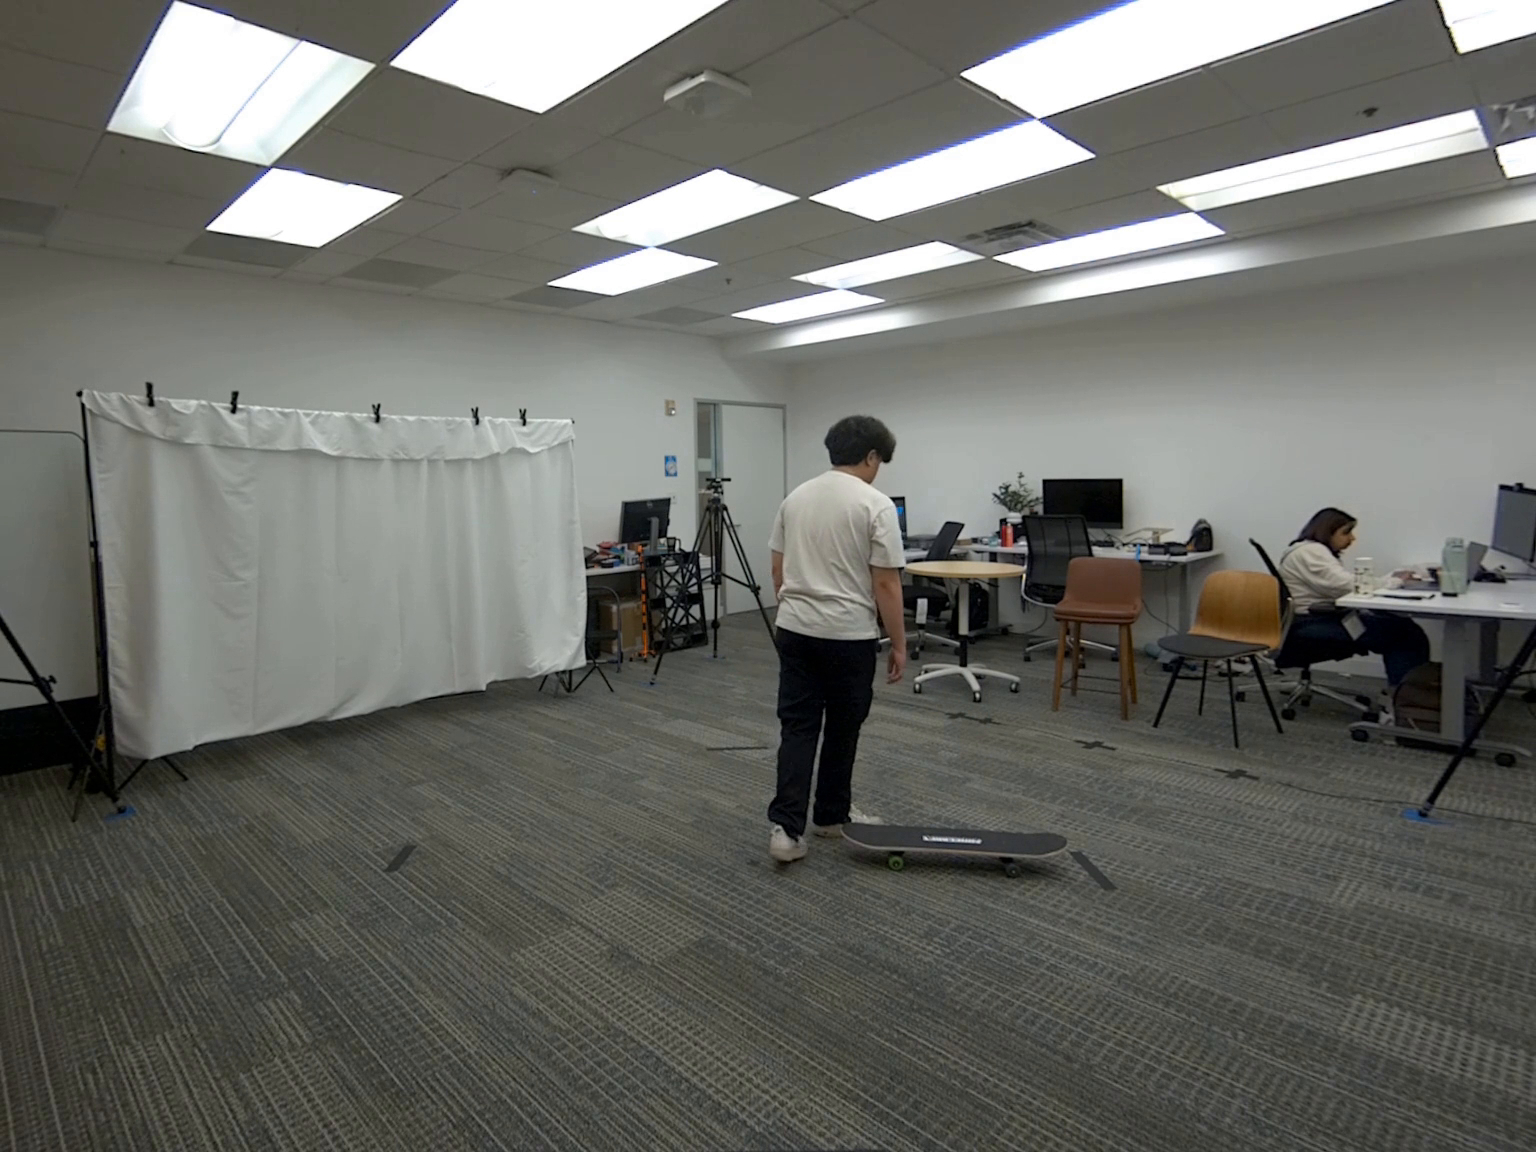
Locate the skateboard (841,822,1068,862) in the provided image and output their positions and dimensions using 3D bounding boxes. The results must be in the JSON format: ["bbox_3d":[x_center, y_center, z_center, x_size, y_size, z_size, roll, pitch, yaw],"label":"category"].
[{"bbox_3d":[0.660,0.977,3.068,0.793,0.110,0.192,-1,5,10],"label":"skateboard"}]
